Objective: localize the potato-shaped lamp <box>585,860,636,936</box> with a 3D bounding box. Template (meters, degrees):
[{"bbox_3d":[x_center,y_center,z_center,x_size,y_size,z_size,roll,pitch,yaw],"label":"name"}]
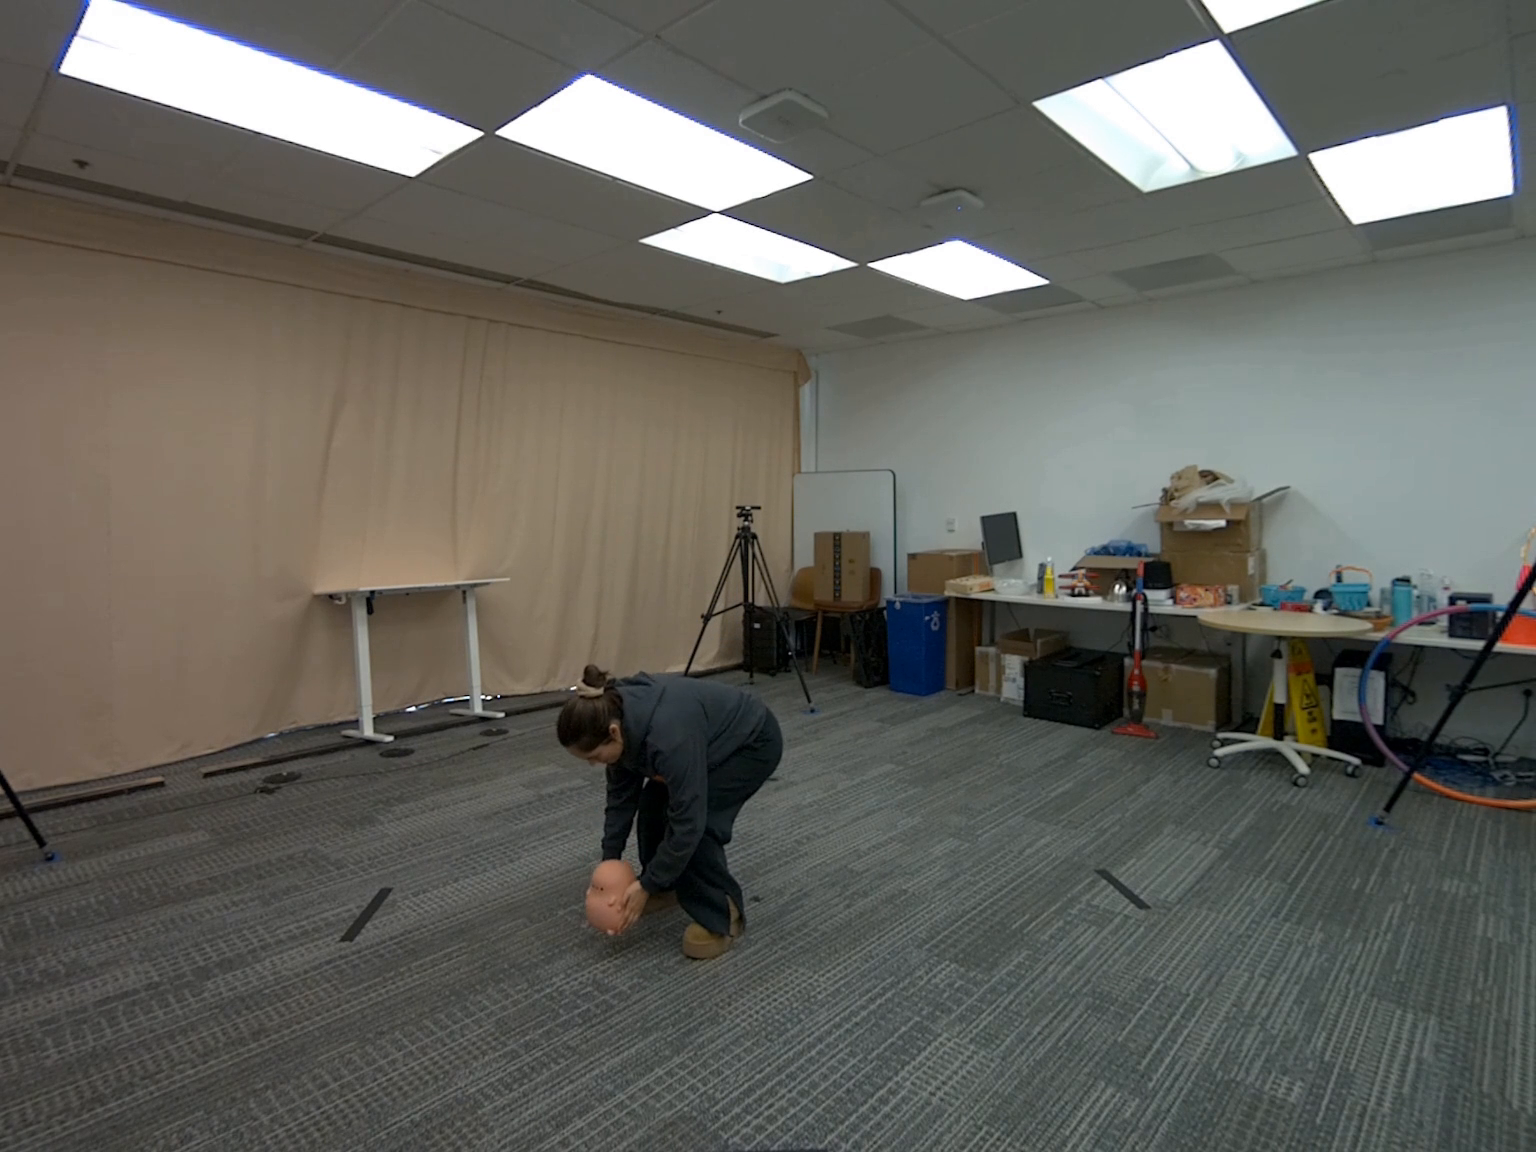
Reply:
[{"bbox_3d":[-0.468,0.995,2.633,0.170,0.197,0.166,-1,6,45],"label":"potato-shaped lamp"}]
